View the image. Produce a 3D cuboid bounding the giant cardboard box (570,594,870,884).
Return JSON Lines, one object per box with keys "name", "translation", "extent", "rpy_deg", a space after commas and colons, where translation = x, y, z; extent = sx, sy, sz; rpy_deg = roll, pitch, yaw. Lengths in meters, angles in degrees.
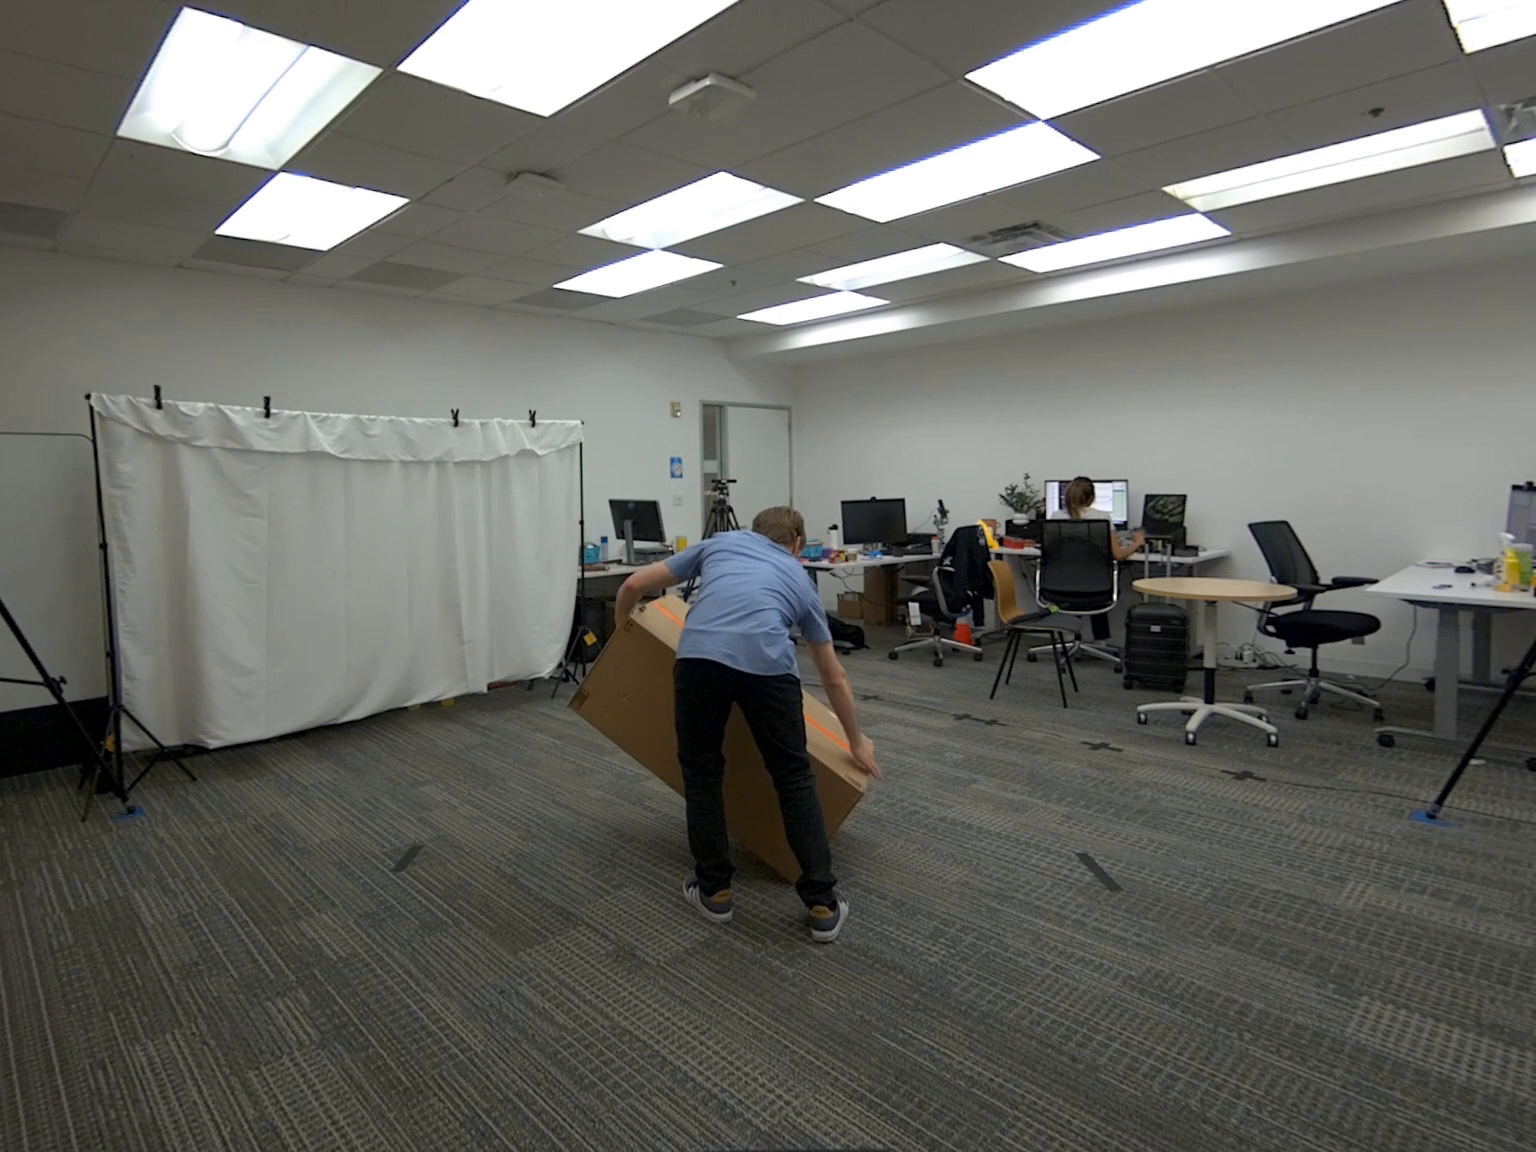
{"name": "giant cardboard box", "translation": [-0.156, 0.563, 3.257], "extent": [1.039, 0.445, 0.579], "rpy_deg": [36, 13, 8]}
